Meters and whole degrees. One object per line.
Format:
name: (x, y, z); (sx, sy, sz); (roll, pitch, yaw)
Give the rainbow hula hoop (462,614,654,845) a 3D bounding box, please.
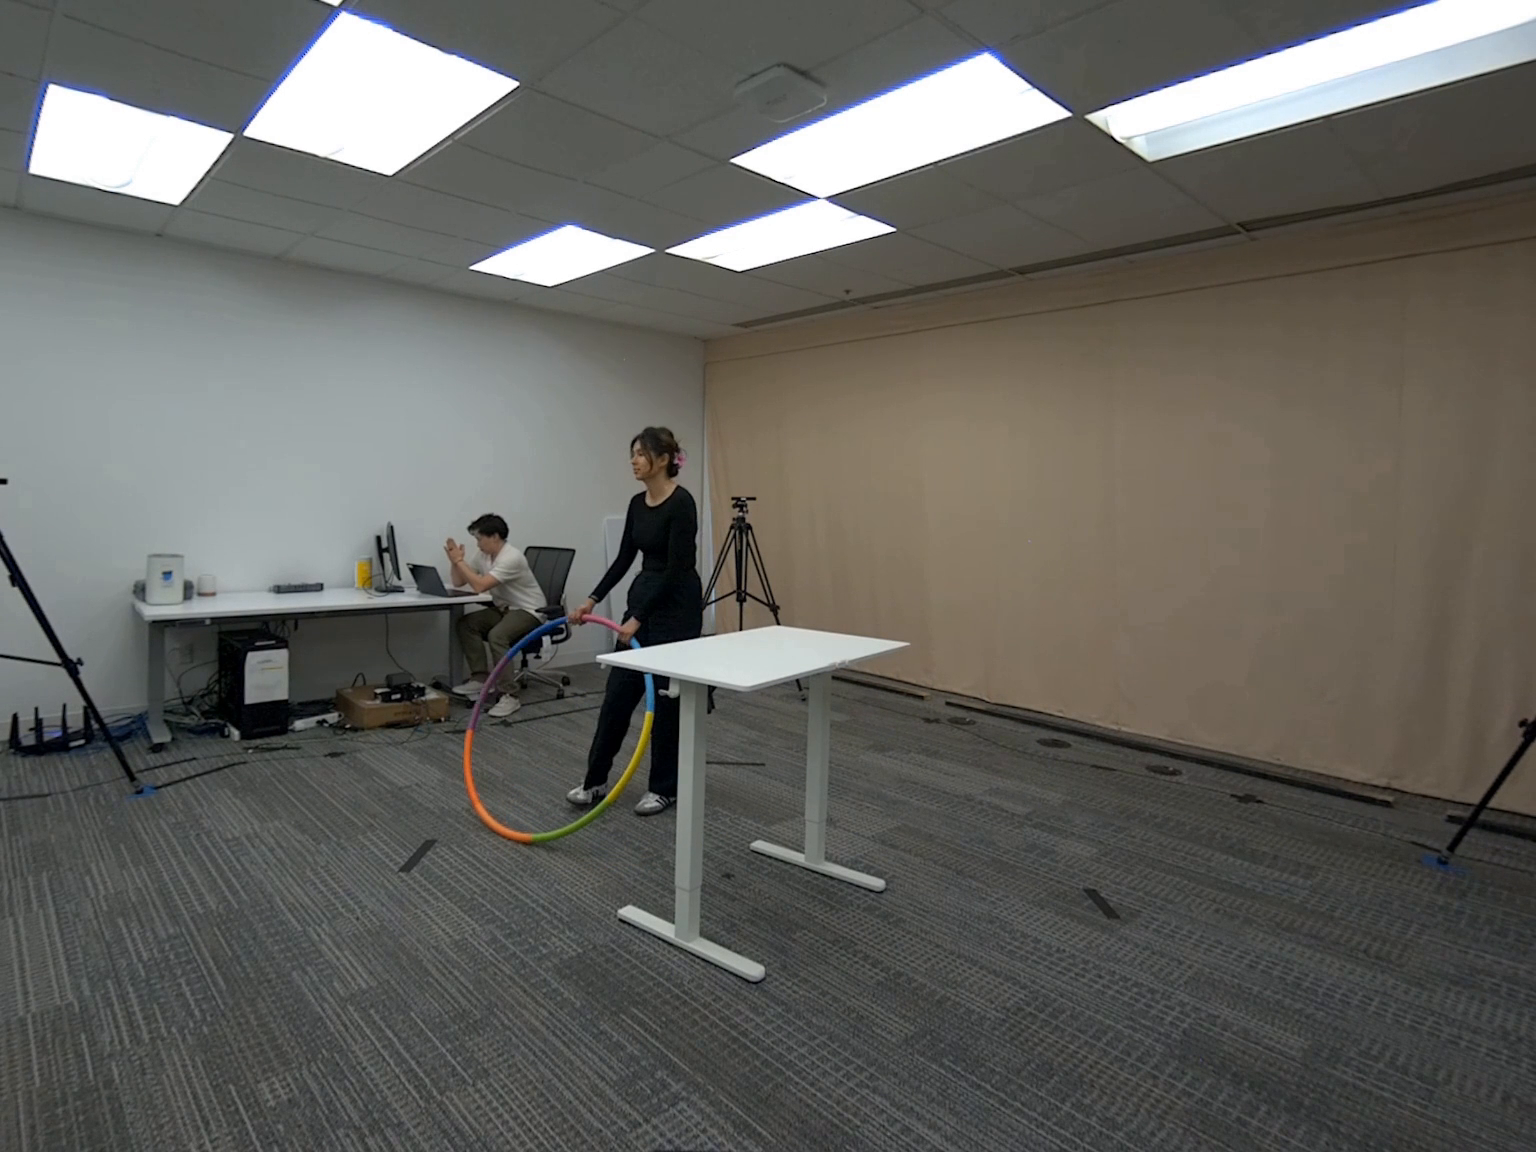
rainbow hula hoop: (-0.925, 0.620, 3.565); (1.001, 0.987, 0.034); (4, -25, 33)
